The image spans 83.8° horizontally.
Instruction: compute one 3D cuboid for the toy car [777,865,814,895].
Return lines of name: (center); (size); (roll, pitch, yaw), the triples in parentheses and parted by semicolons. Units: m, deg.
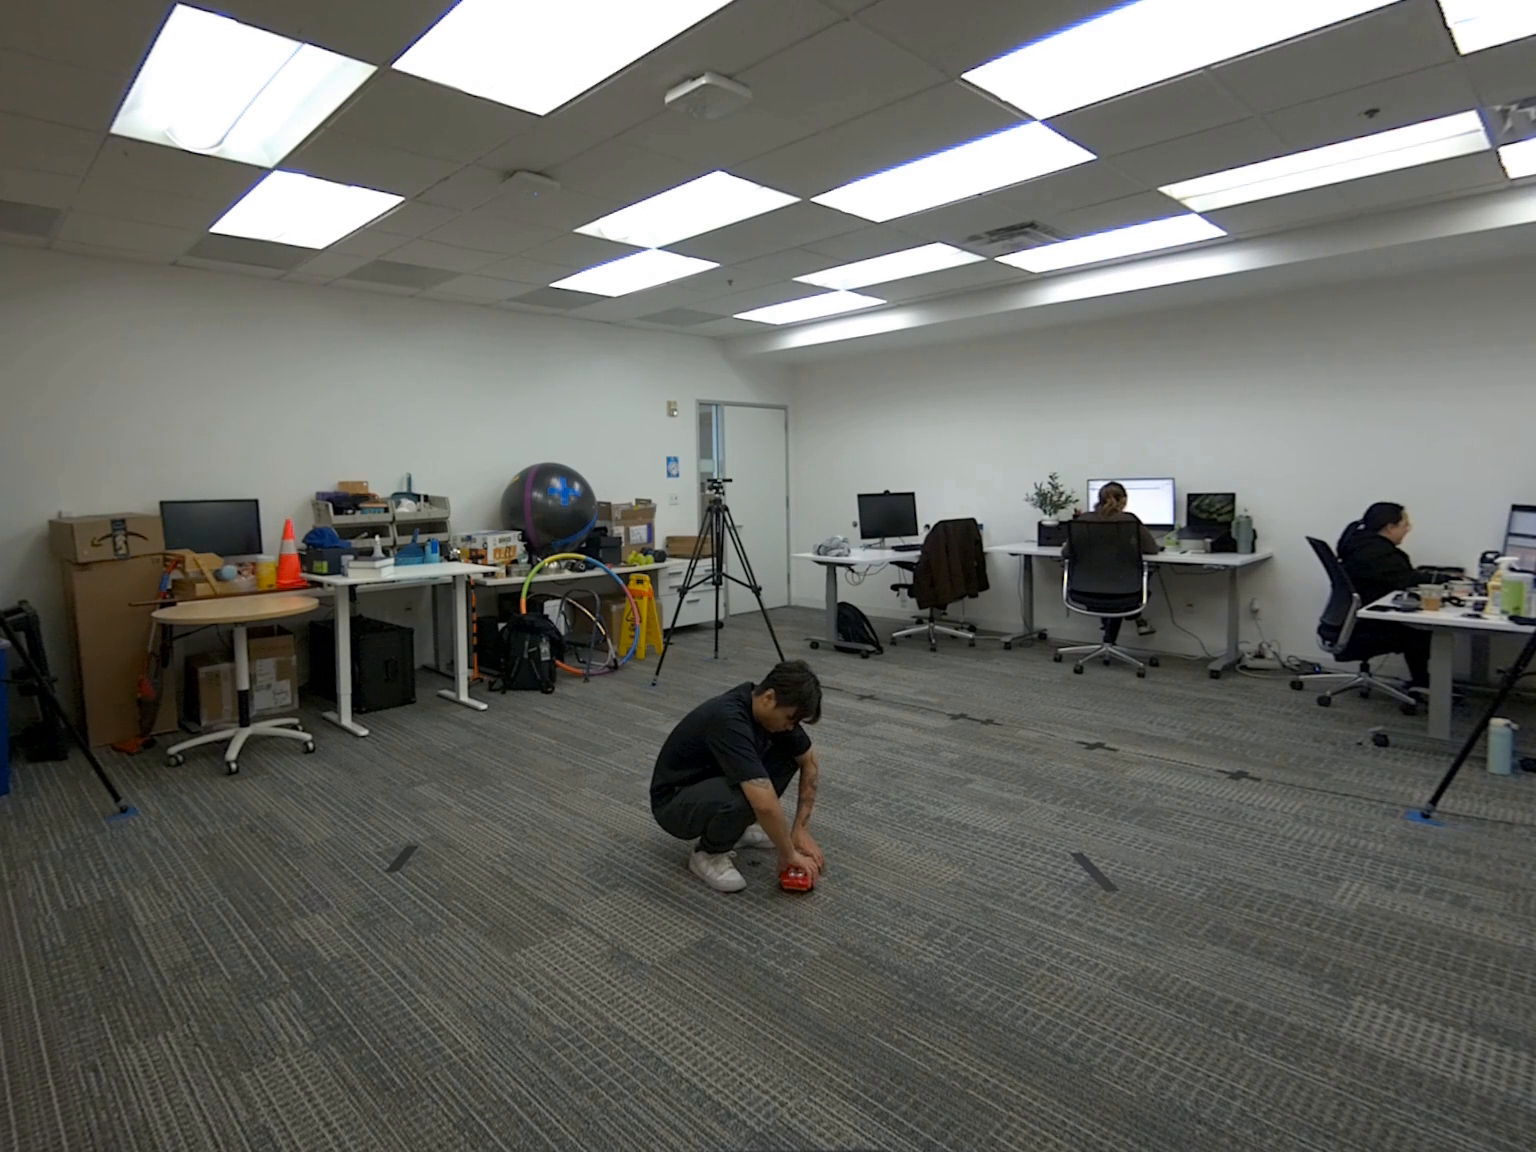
toy car: (0.108, 1.021, 2.956); (0.132, 0.084, 0.250); (3, -7, 10)
